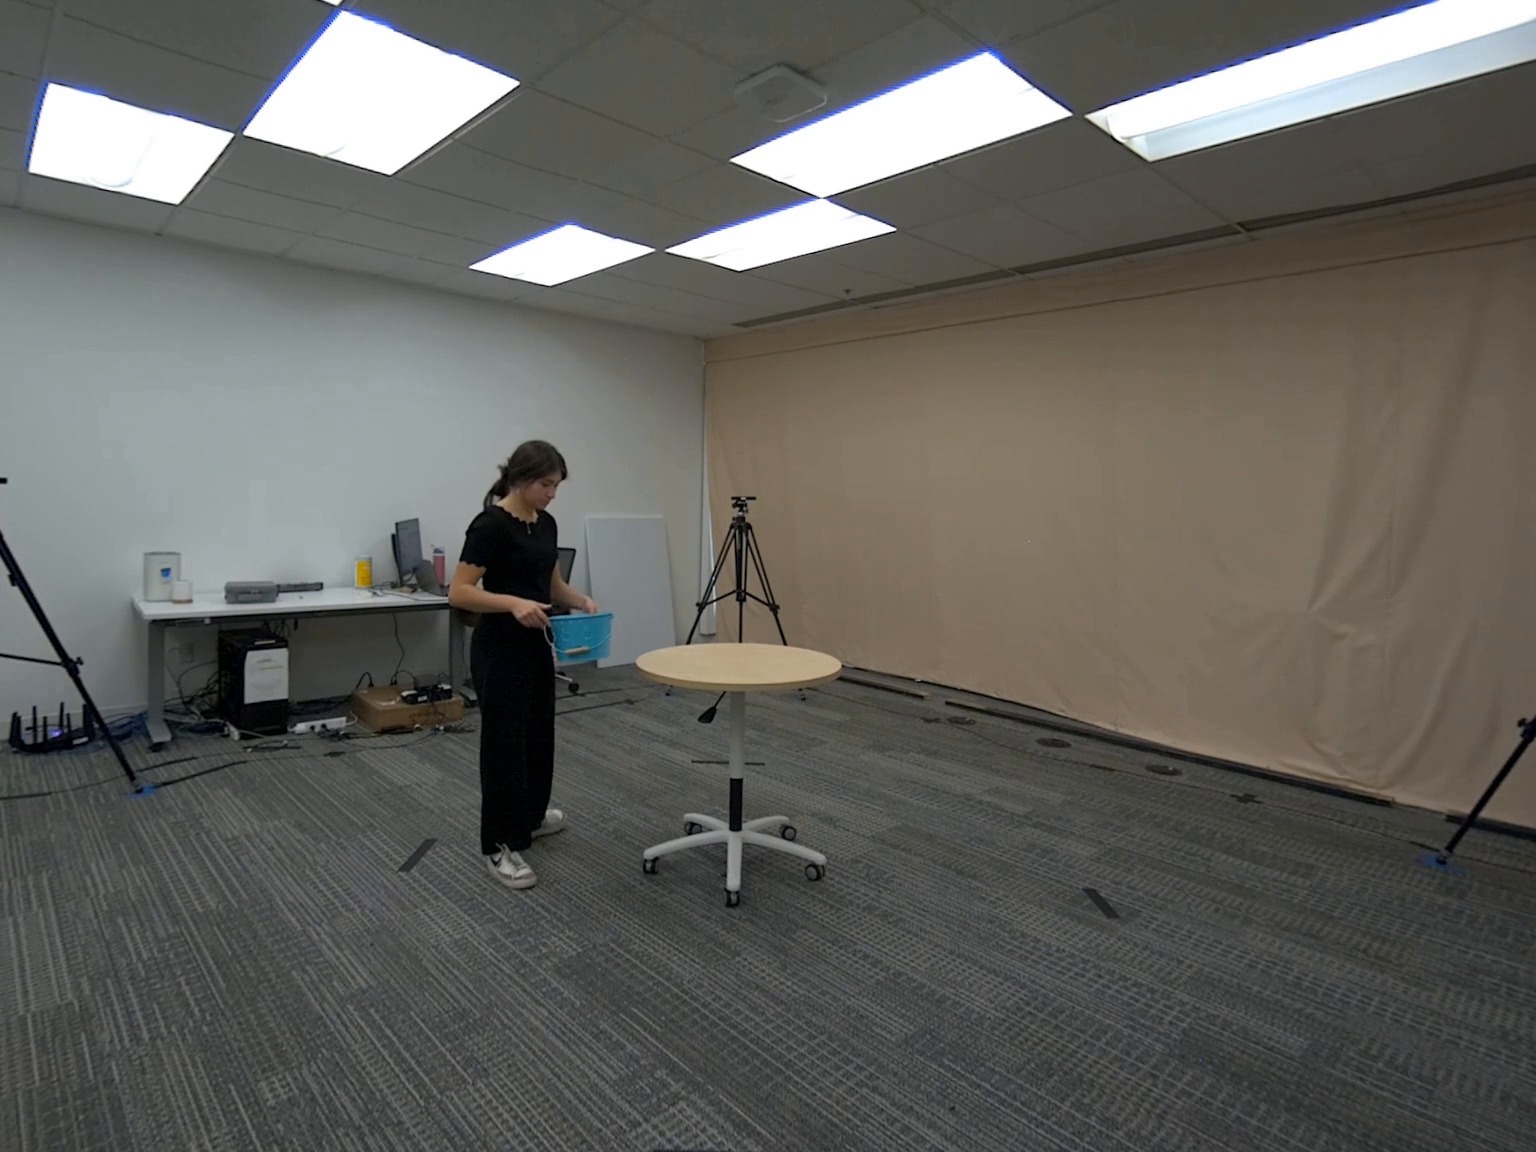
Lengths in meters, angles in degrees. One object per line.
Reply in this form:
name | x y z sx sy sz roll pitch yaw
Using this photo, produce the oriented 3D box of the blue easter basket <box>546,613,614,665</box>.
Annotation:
blue easter basket | -0.681 0.217 2.952 0.243 0.156 0.243 -5 -2 -2
